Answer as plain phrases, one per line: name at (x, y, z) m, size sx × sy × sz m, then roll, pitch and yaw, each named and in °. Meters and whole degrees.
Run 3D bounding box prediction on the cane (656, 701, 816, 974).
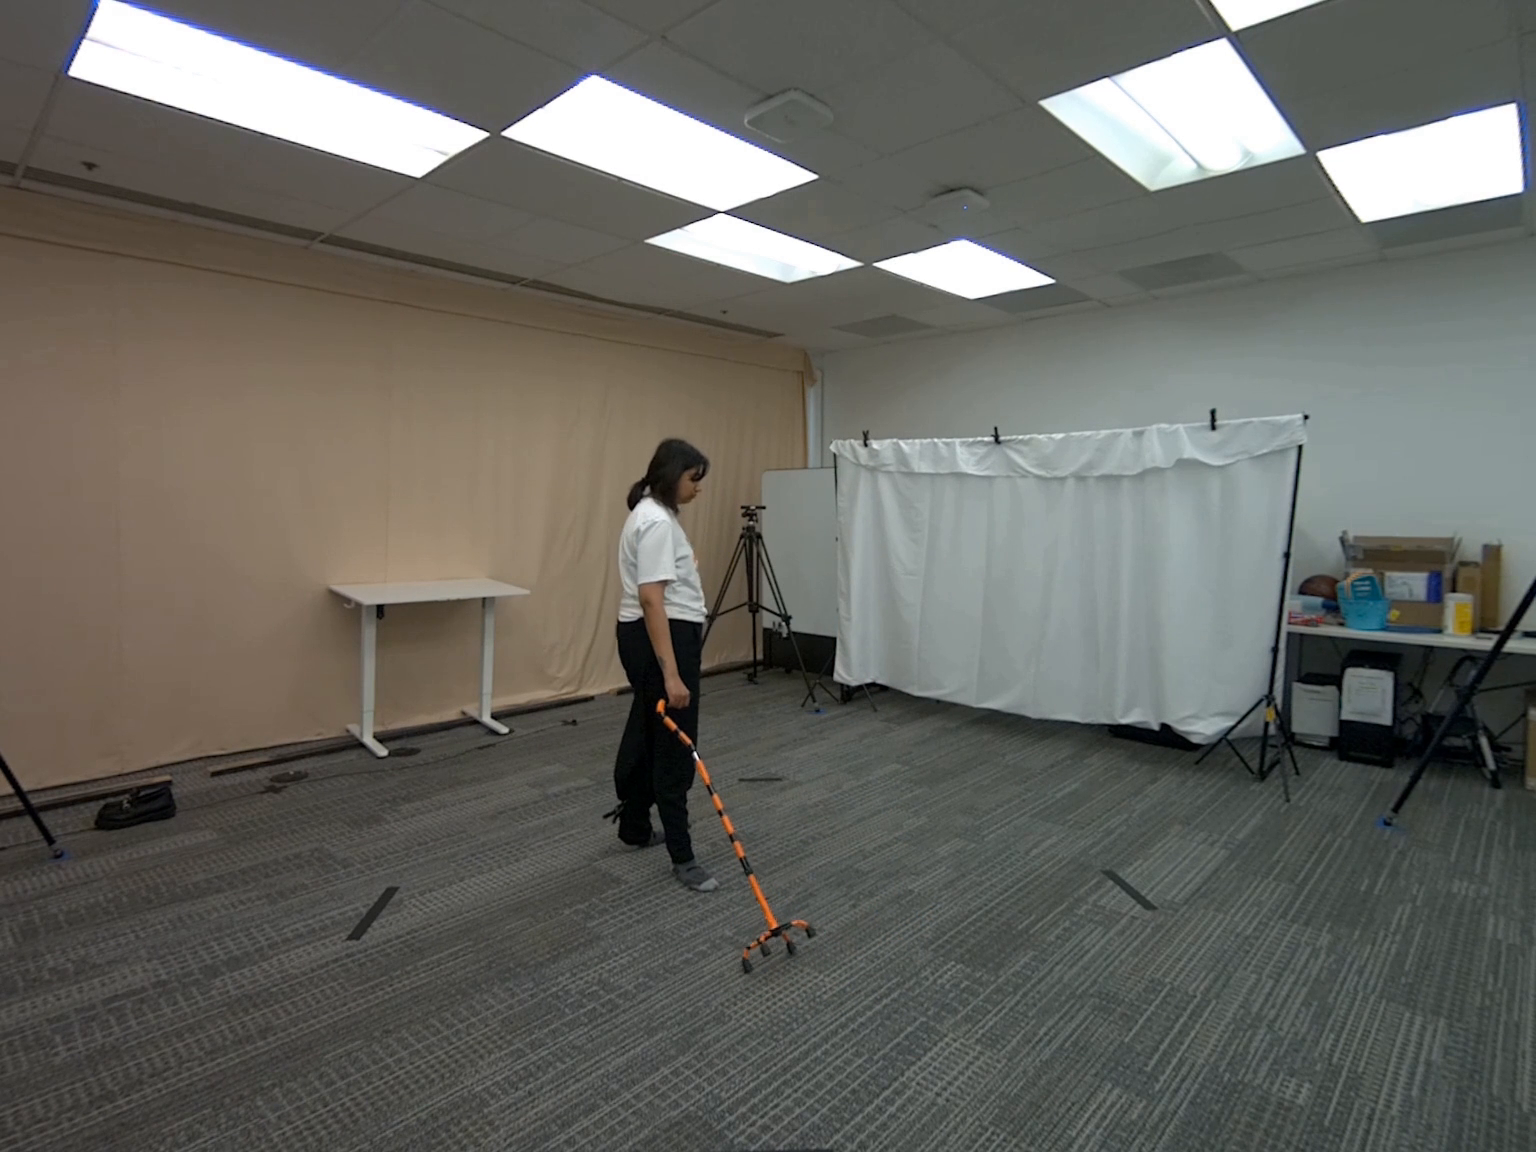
cane at (-0.150, 0.786, 2.755) m, size 0.200 × 0.934 × 0.152 m, roll 0°, pitch -41°, yaw -39°
